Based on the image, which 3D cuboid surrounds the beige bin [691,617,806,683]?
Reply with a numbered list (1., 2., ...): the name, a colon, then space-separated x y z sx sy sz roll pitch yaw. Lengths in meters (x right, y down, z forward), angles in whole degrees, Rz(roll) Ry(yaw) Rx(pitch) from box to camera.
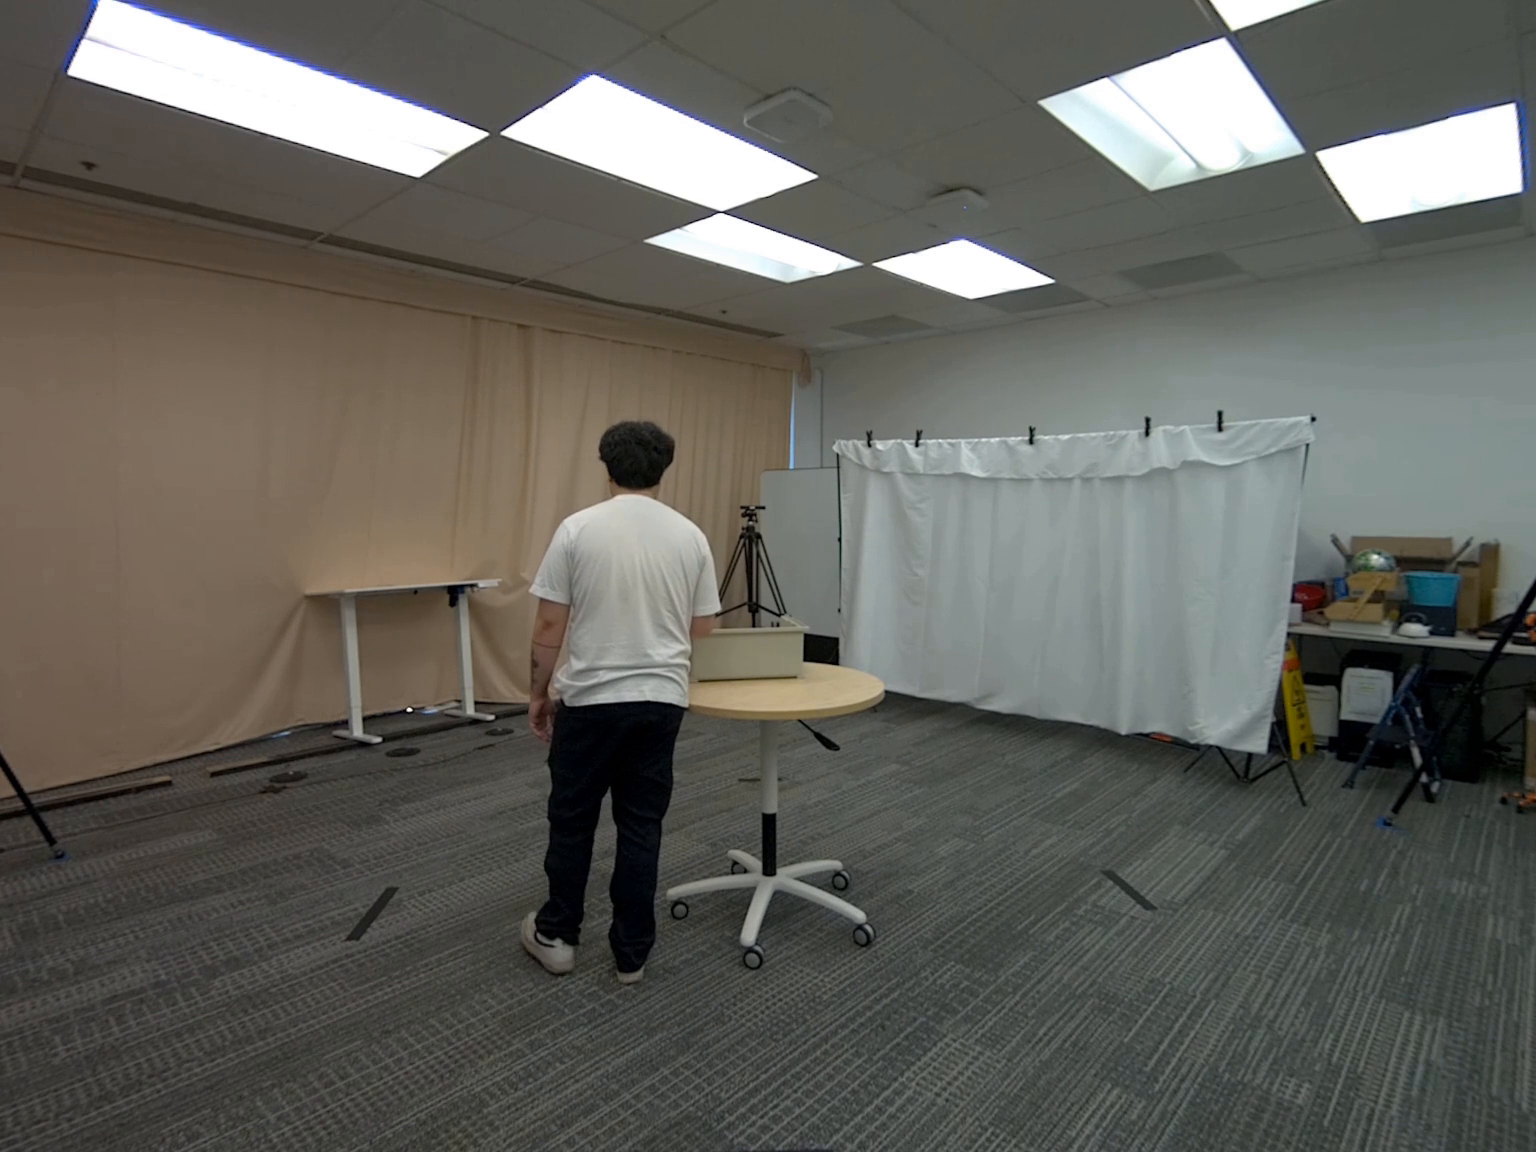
1. beige bin: -0.102 0.252 3.026 0.417 0.188 0.383 -1 6 -12
